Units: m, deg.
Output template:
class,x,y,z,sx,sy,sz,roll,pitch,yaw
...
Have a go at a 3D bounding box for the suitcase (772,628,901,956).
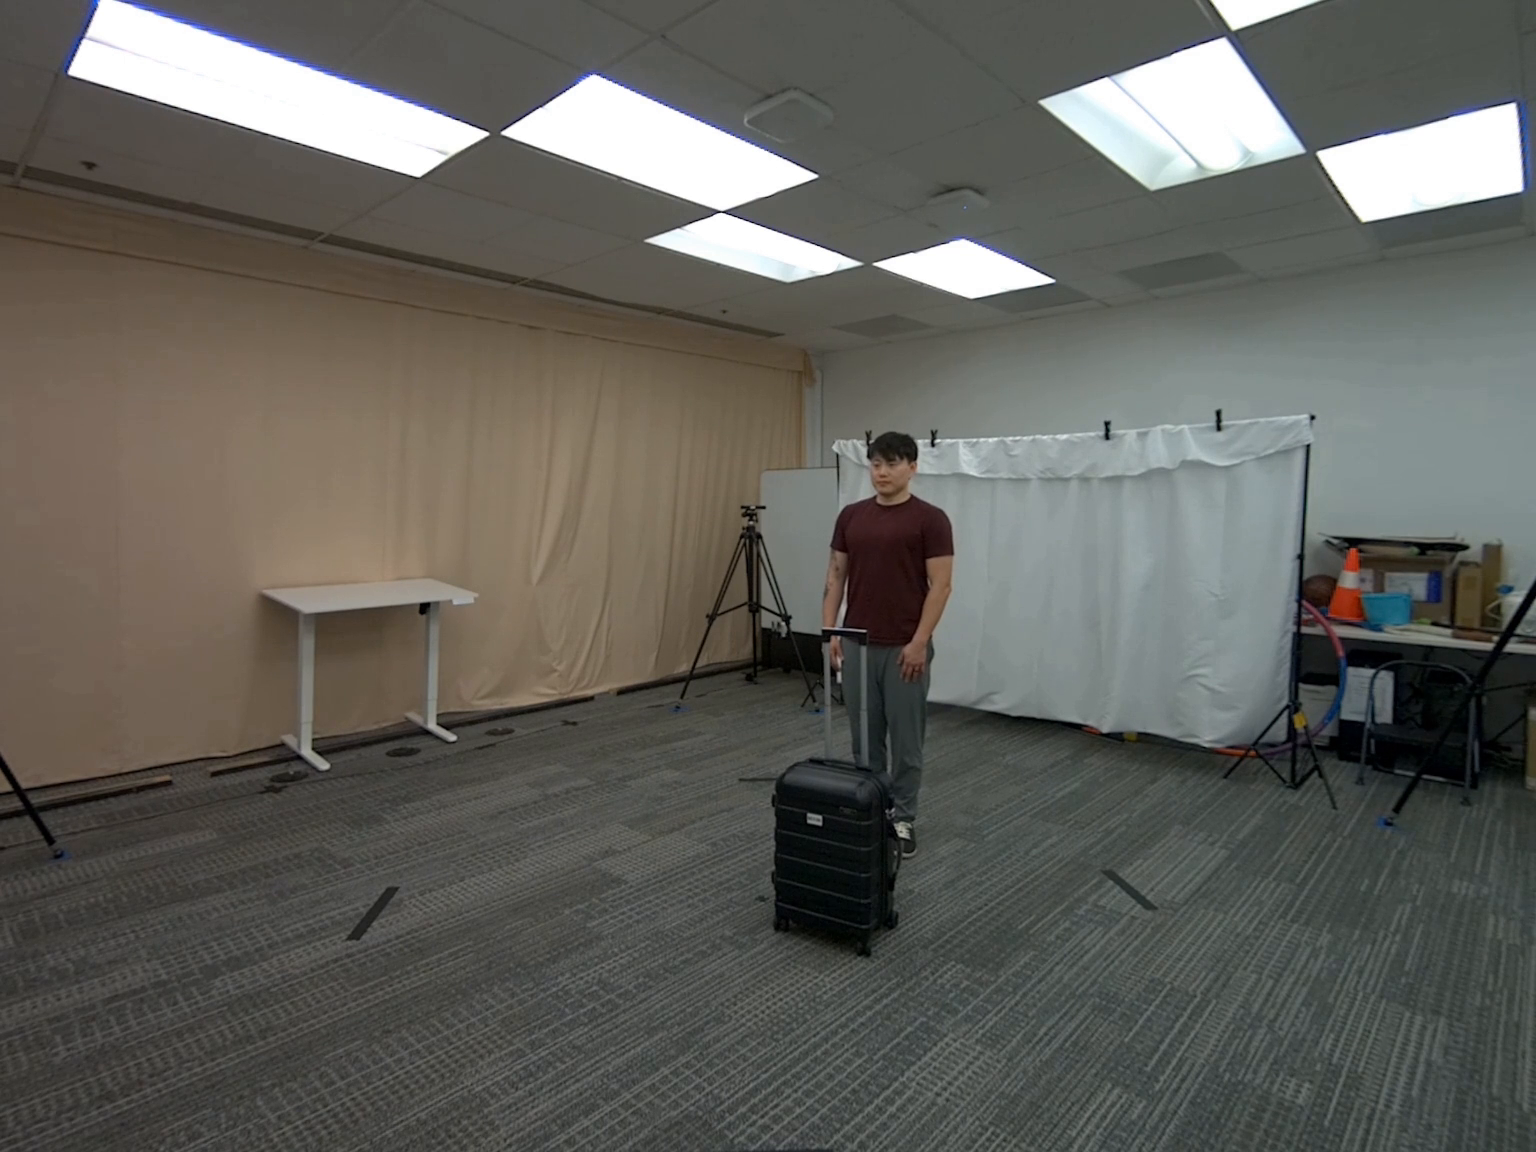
class,x,y,z,sx,sy,sz,roll,pitch,yaw
suitcase,0.217,0.690,2.718,0.395,0.975,0.250,3,7,30
